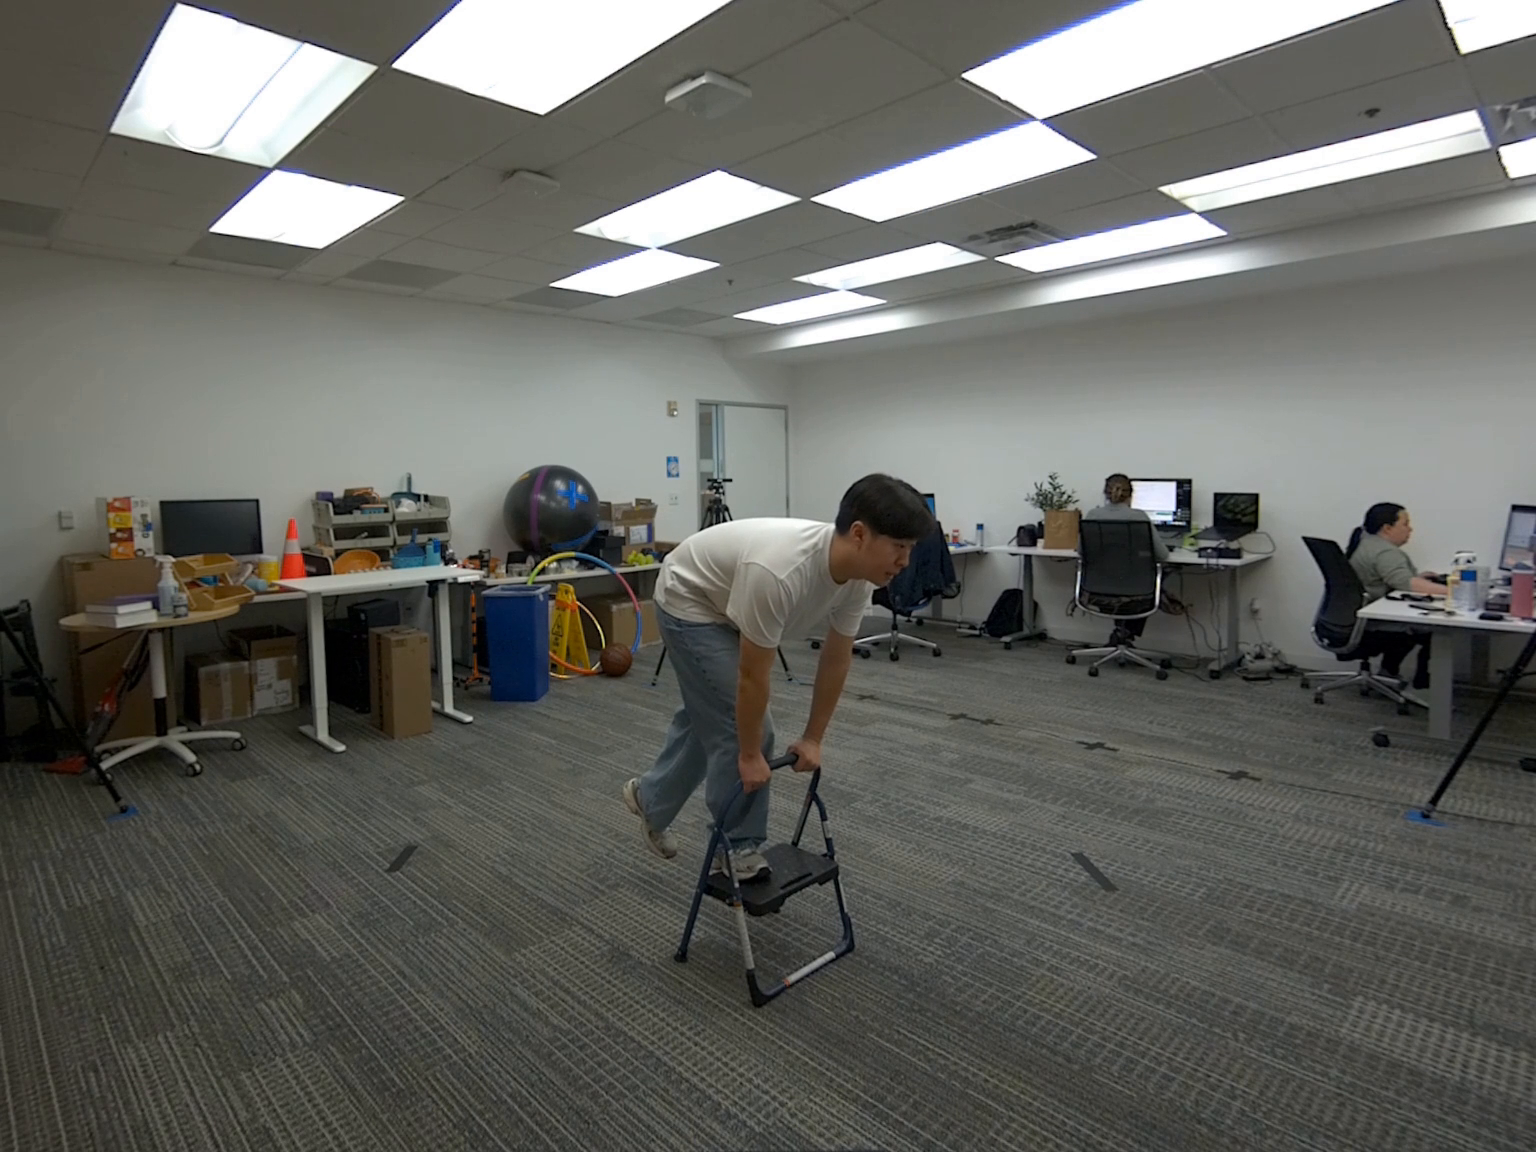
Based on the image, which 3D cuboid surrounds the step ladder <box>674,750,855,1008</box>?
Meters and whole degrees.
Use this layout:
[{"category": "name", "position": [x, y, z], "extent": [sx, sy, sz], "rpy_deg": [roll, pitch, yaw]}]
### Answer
[{"category": "step ladder", "position": [-0.005, 0.812, 2.498], "extent": [0.360, 0.604, 0.419], "rpy_deg": [3, 6, 45]}]
